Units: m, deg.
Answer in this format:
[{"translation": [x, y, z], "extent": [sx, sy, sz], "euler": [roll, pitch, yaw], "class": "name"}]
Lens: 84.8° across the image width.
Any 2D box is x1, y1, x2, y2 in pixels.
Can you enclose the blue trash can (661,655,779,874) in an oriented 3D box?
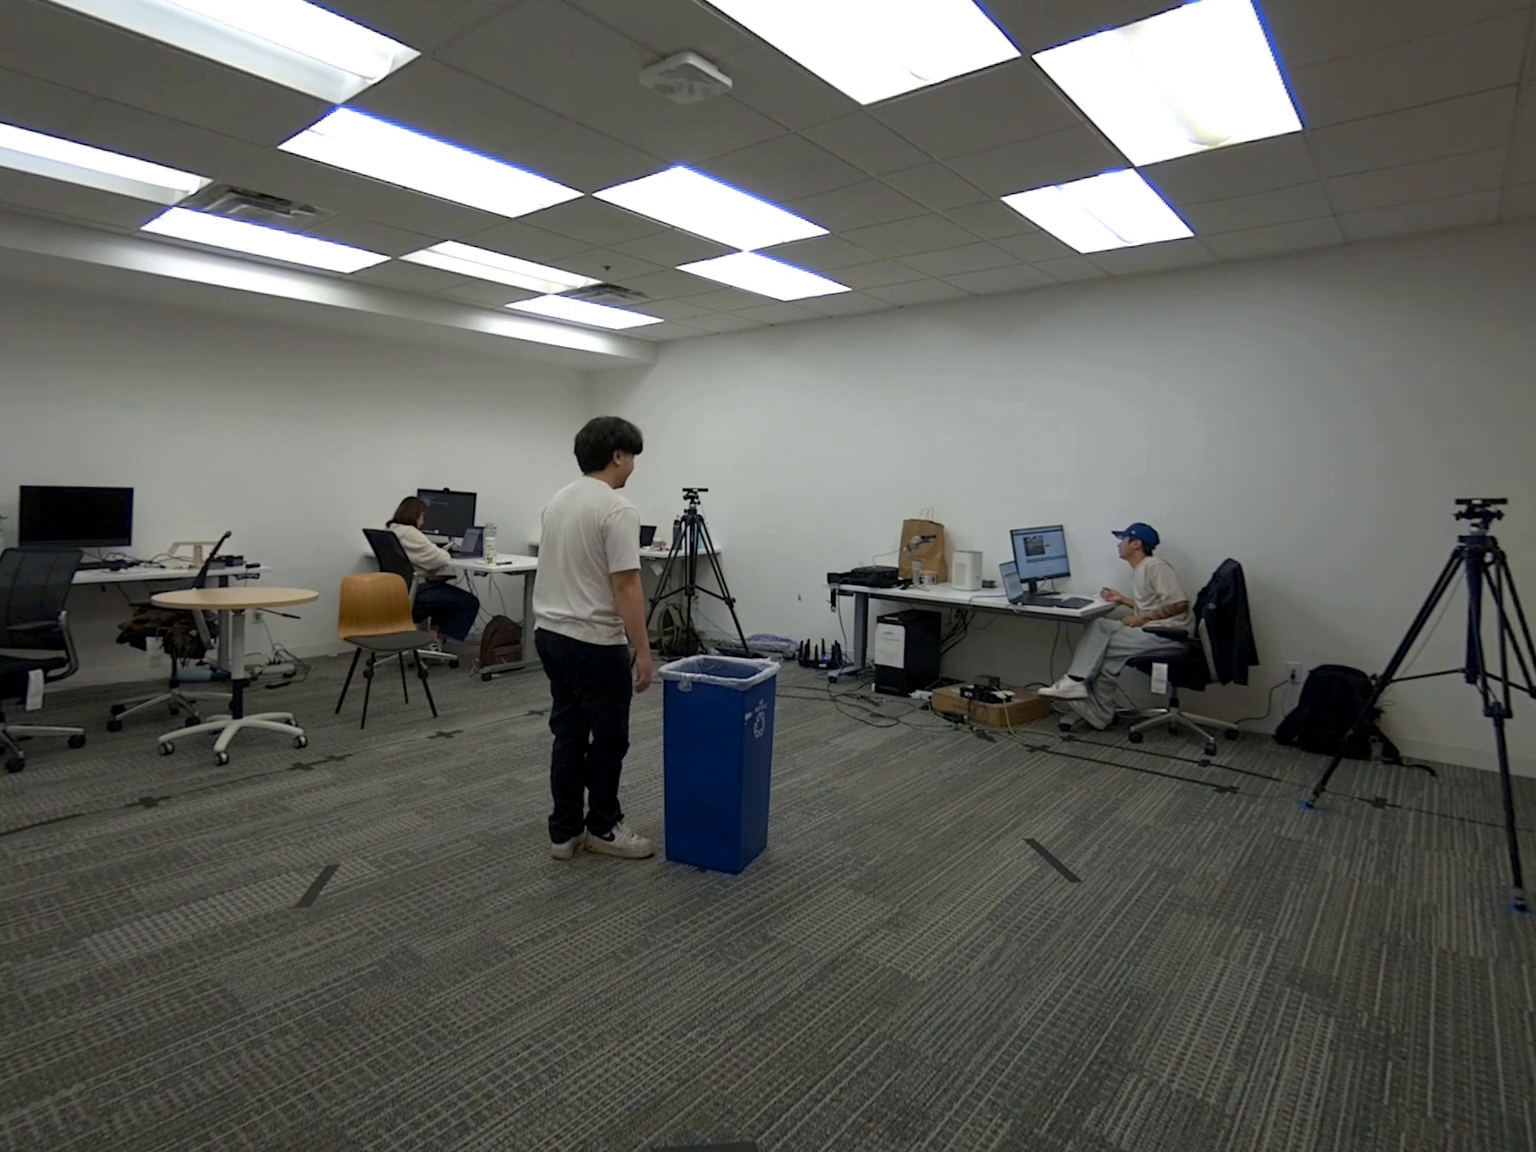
[{"translation": [-0.201, 0.697, 3.251], "extent": [0.387, 0.711, 0.366], "euler": [3, 4, 23], "class": "blue trash can"}]
